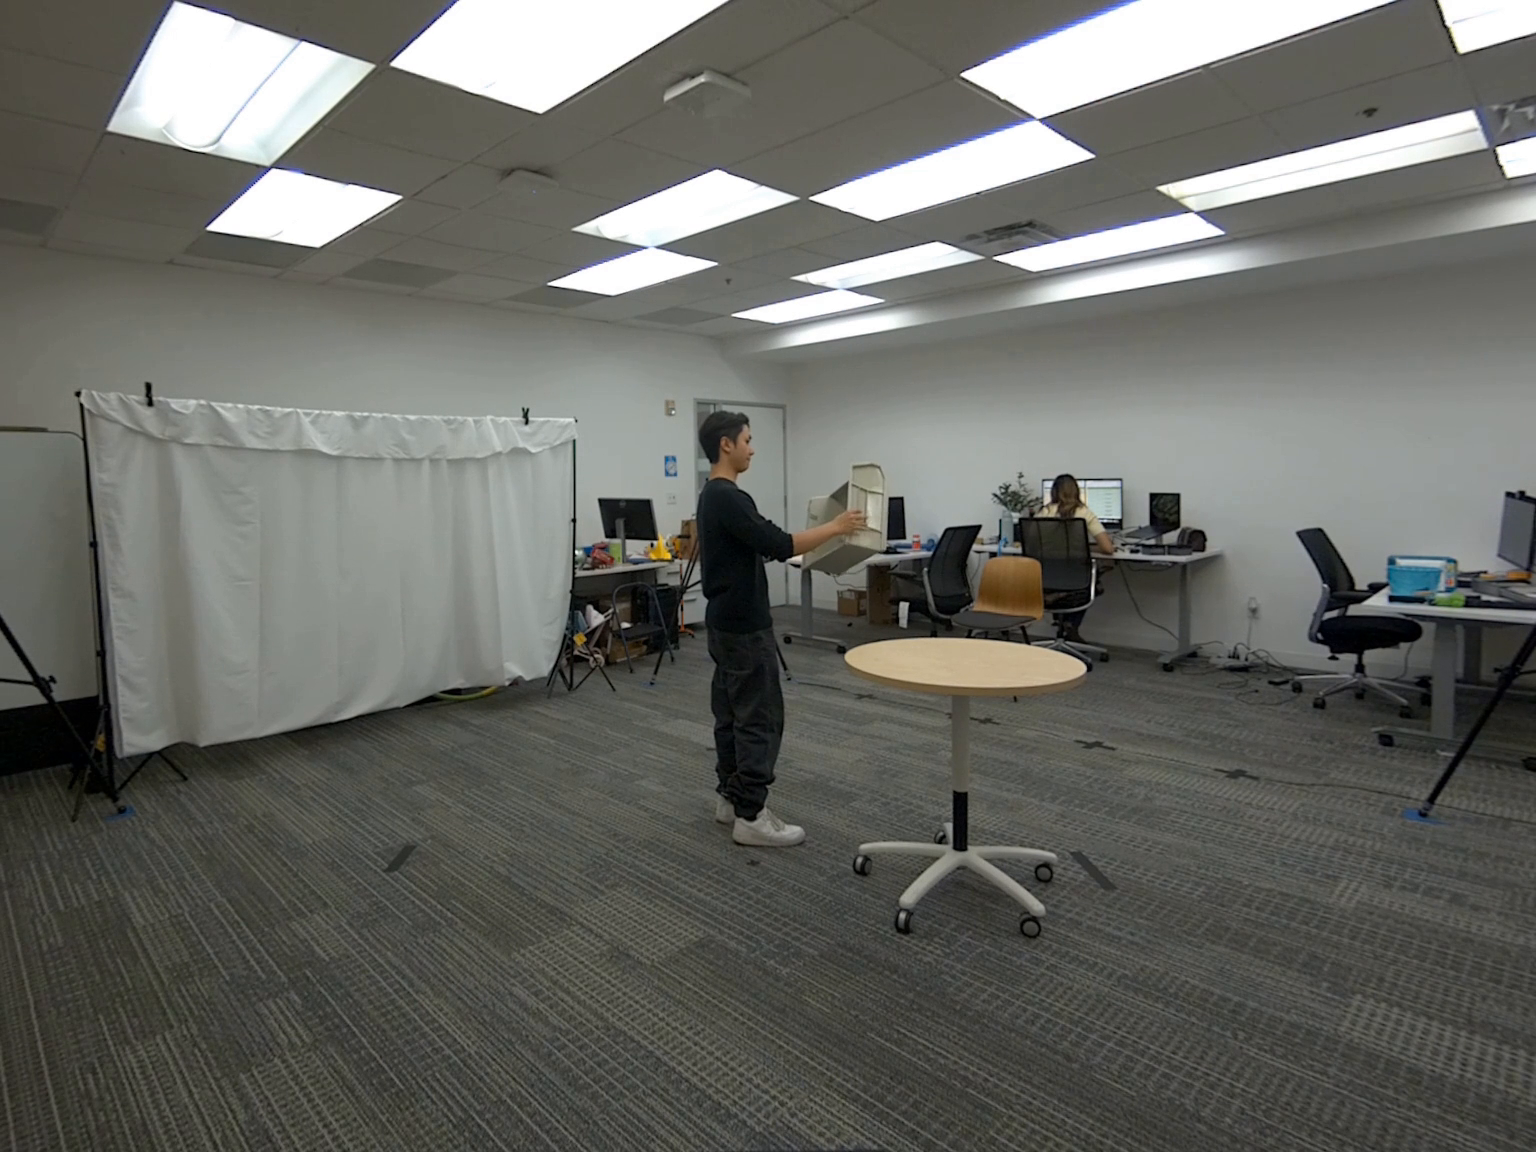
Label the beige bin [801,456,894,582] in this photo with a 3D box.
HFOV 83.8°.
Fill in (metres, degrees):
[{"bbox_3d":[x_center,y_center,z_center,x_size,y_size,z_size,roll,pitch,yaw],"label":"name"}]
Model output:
[{"bbox_3d":[0.324,-0.229,3.574,0.185,0.383,0.424,13,-21,-18],"label":"beige bin"}]
